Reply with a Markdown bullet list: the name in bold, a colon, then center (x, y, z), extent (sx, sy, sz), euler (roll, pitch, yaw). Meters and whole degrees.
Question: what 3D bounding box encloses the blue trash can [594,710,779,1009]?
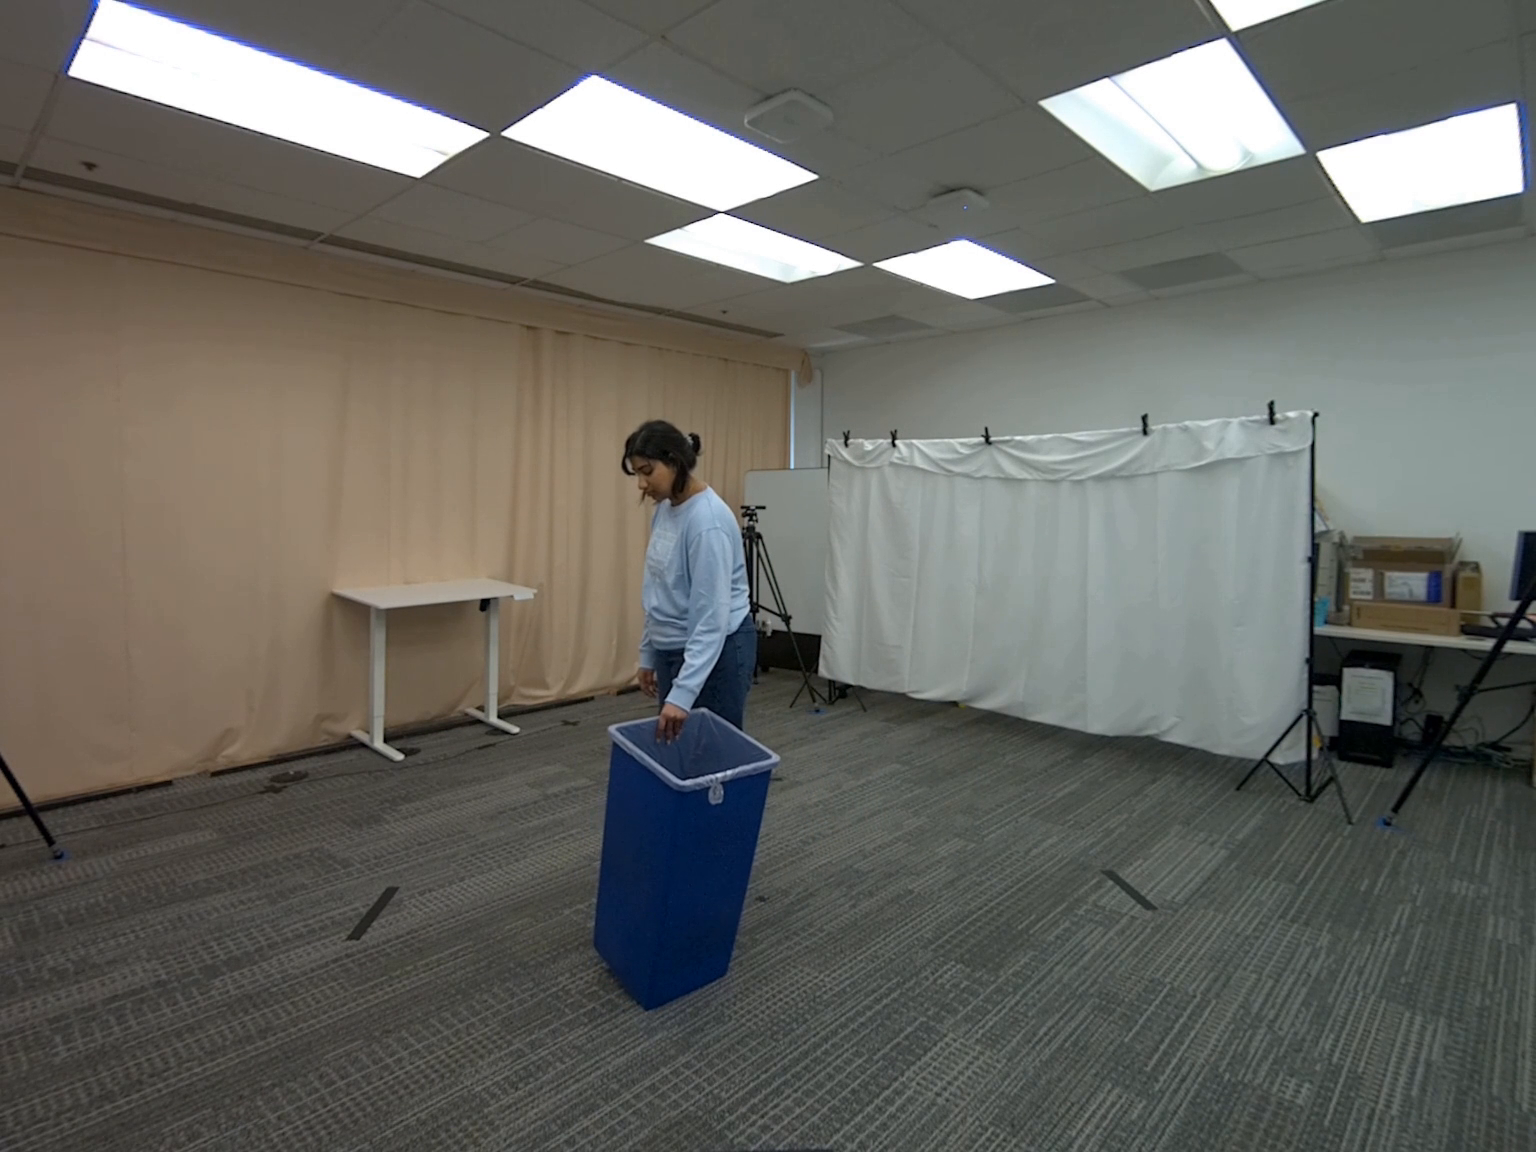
- **blue trash can**: center (-0.269, 0.805, 2.444), extent (0.366, 0.709, 0.388), euler (-2, 17, -43)
